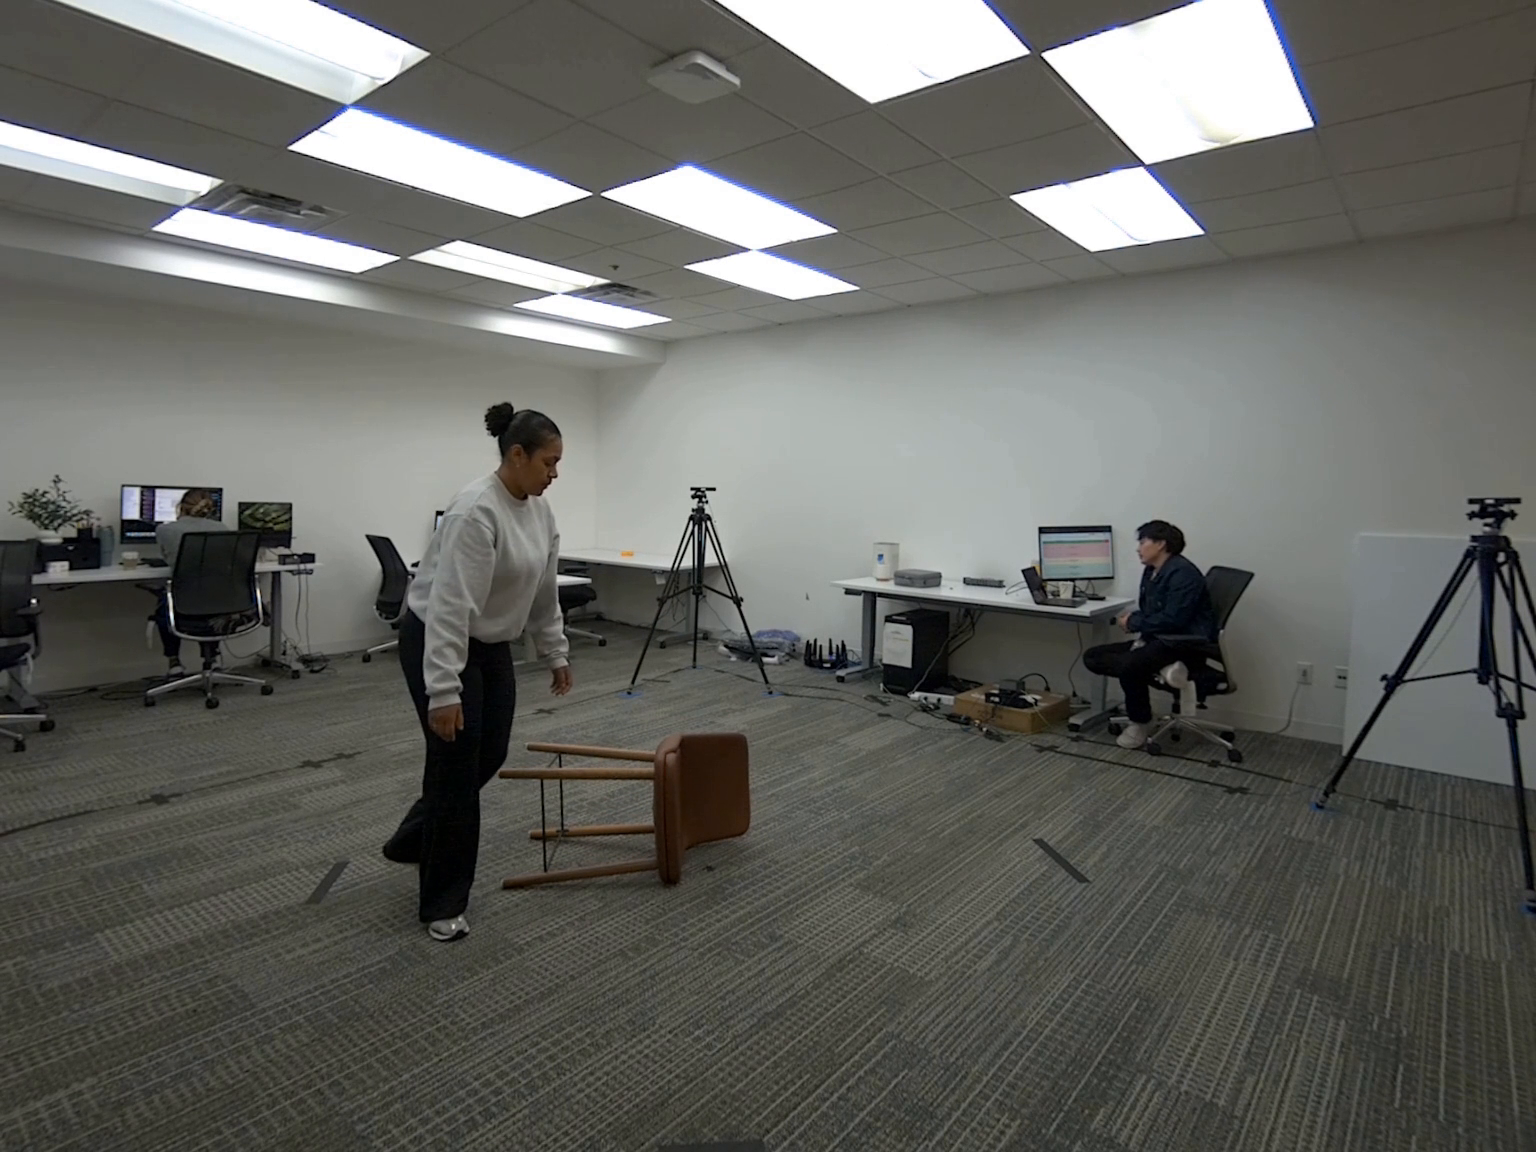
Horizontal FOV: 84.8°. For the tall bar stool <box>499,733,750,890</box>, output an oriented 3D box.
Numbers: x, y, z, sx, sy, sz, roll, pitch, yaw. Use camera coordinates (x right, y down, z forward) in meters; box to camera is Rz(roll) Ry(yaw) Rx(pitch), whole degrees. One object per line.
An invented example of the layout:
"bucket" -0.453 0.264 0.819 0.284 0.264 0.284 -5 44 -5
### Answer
"tall bar stool" -0.508 0.845 3.143 0.888 0.456 0.469 -1 2 -2
